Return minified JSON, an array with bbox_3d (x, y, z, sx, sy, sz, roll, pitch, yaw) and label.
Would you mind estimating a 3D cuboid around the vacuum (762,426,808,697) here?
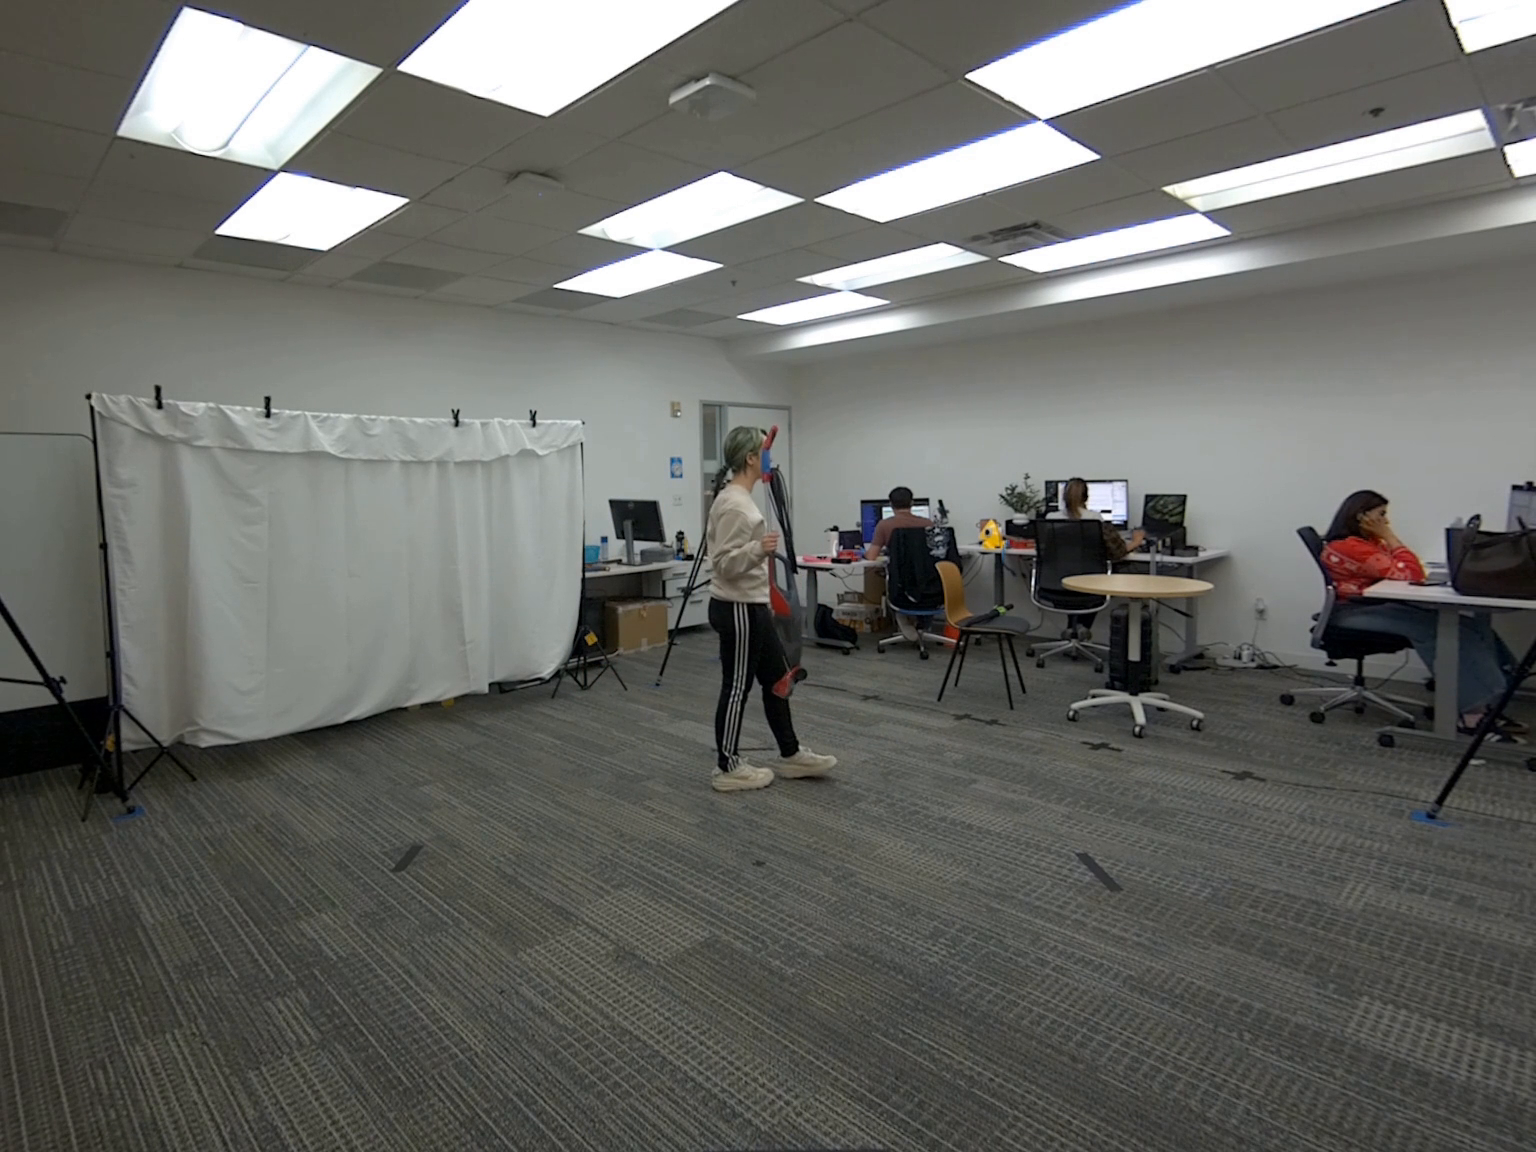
[{"bbox_3d":[0.056,-0.085,3.509,0.142,1.053,0.255,-1,-4,-15],"label":"vacuum"}]
